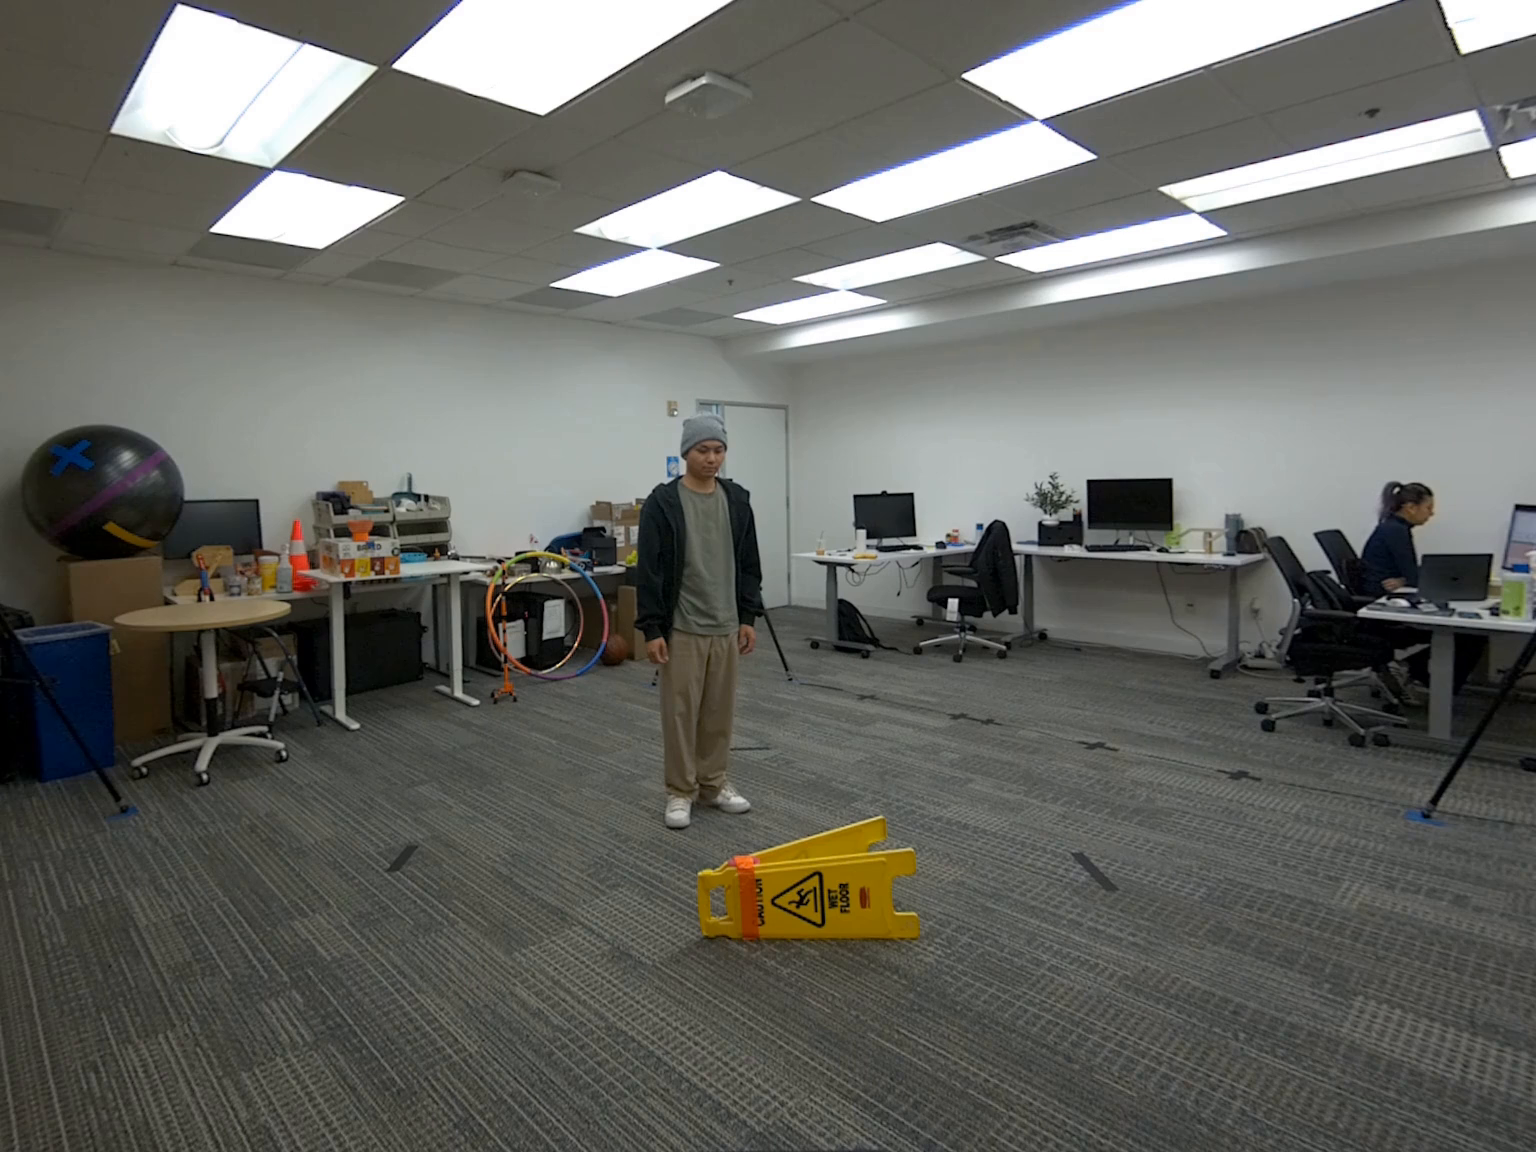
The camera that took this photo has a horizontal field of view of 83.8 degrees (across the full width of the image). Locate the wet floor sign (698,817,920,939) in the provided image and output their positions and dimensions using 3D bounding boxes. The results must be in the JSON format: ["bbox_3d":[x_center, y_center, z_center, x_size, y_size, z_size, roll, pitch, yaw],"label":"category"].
[{"bbox_3d":[0.110,0.968,2.642,0.641,0.281,0.293,-5,5,-9],"label":"wet floor sign"}]
